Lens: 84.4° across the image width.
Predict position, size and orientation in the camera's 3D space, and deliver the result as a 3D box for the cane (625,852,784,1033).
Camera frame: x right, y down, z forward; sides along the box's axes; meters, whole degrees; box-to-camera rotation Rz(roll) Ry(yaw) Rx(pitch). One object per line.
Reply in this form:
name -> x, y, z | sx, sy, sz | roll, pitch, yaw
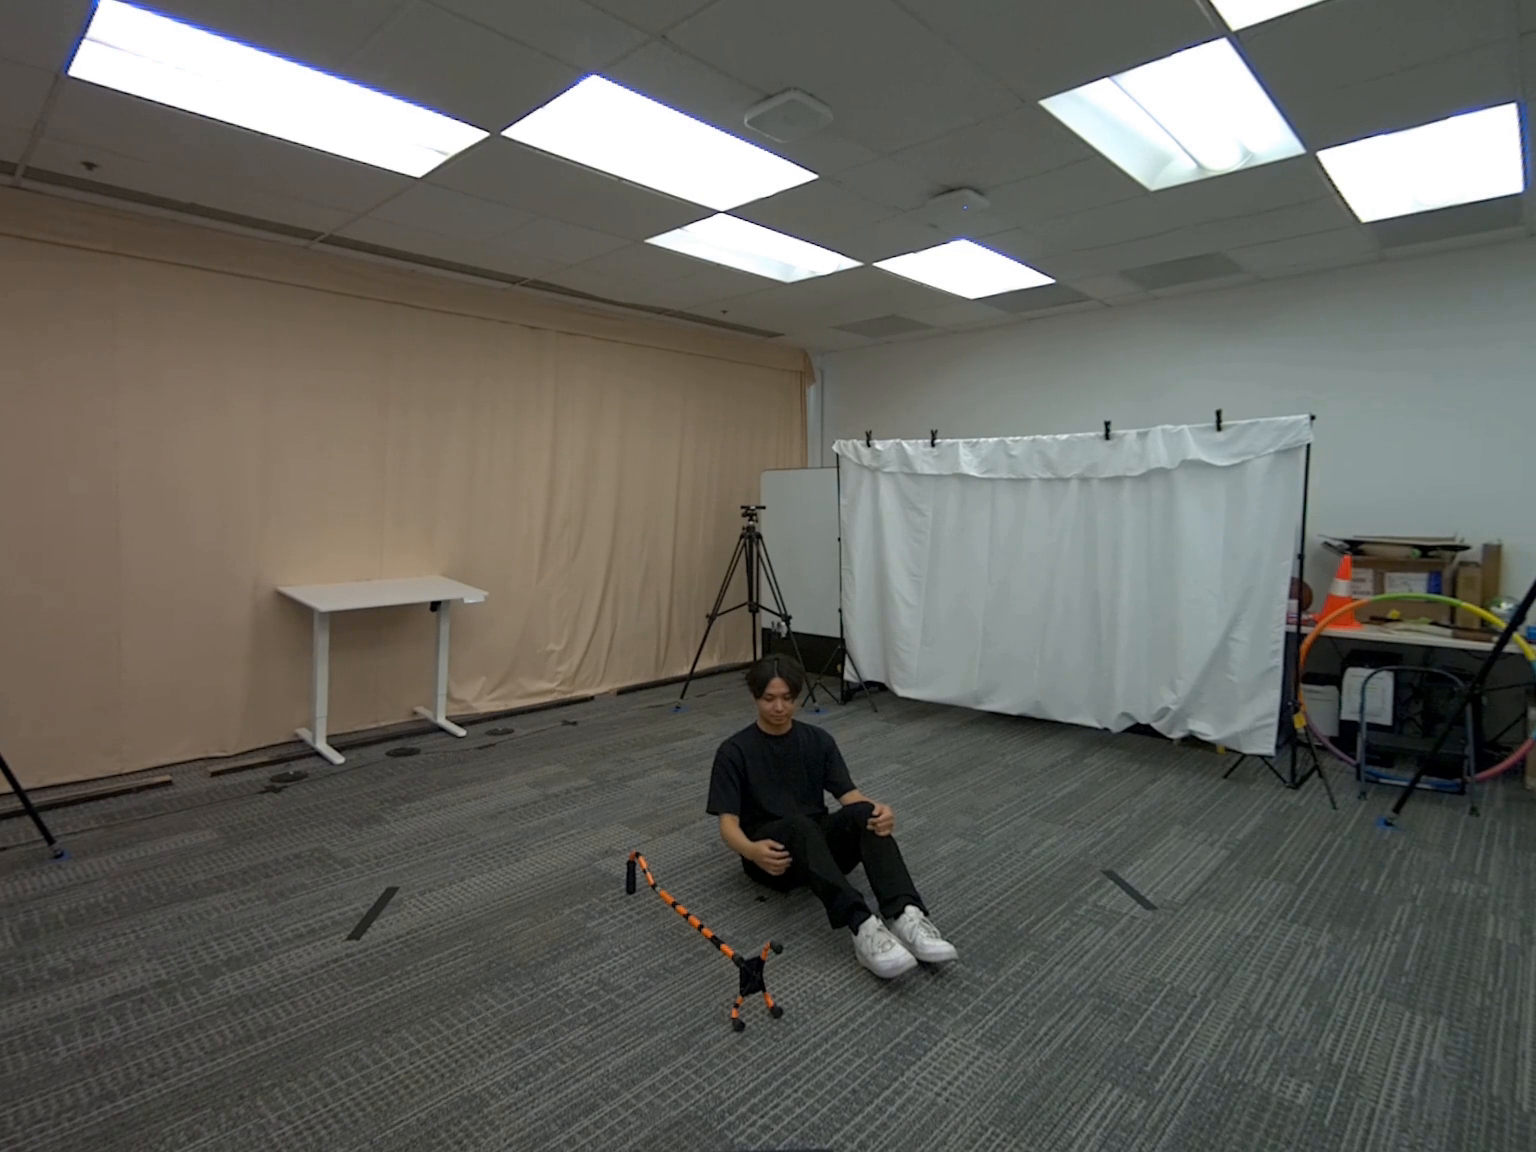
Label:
cane -> -0.260, 1.062, 2.651 | 0.147, 0.206, 0.935 | -4, 5, -31
